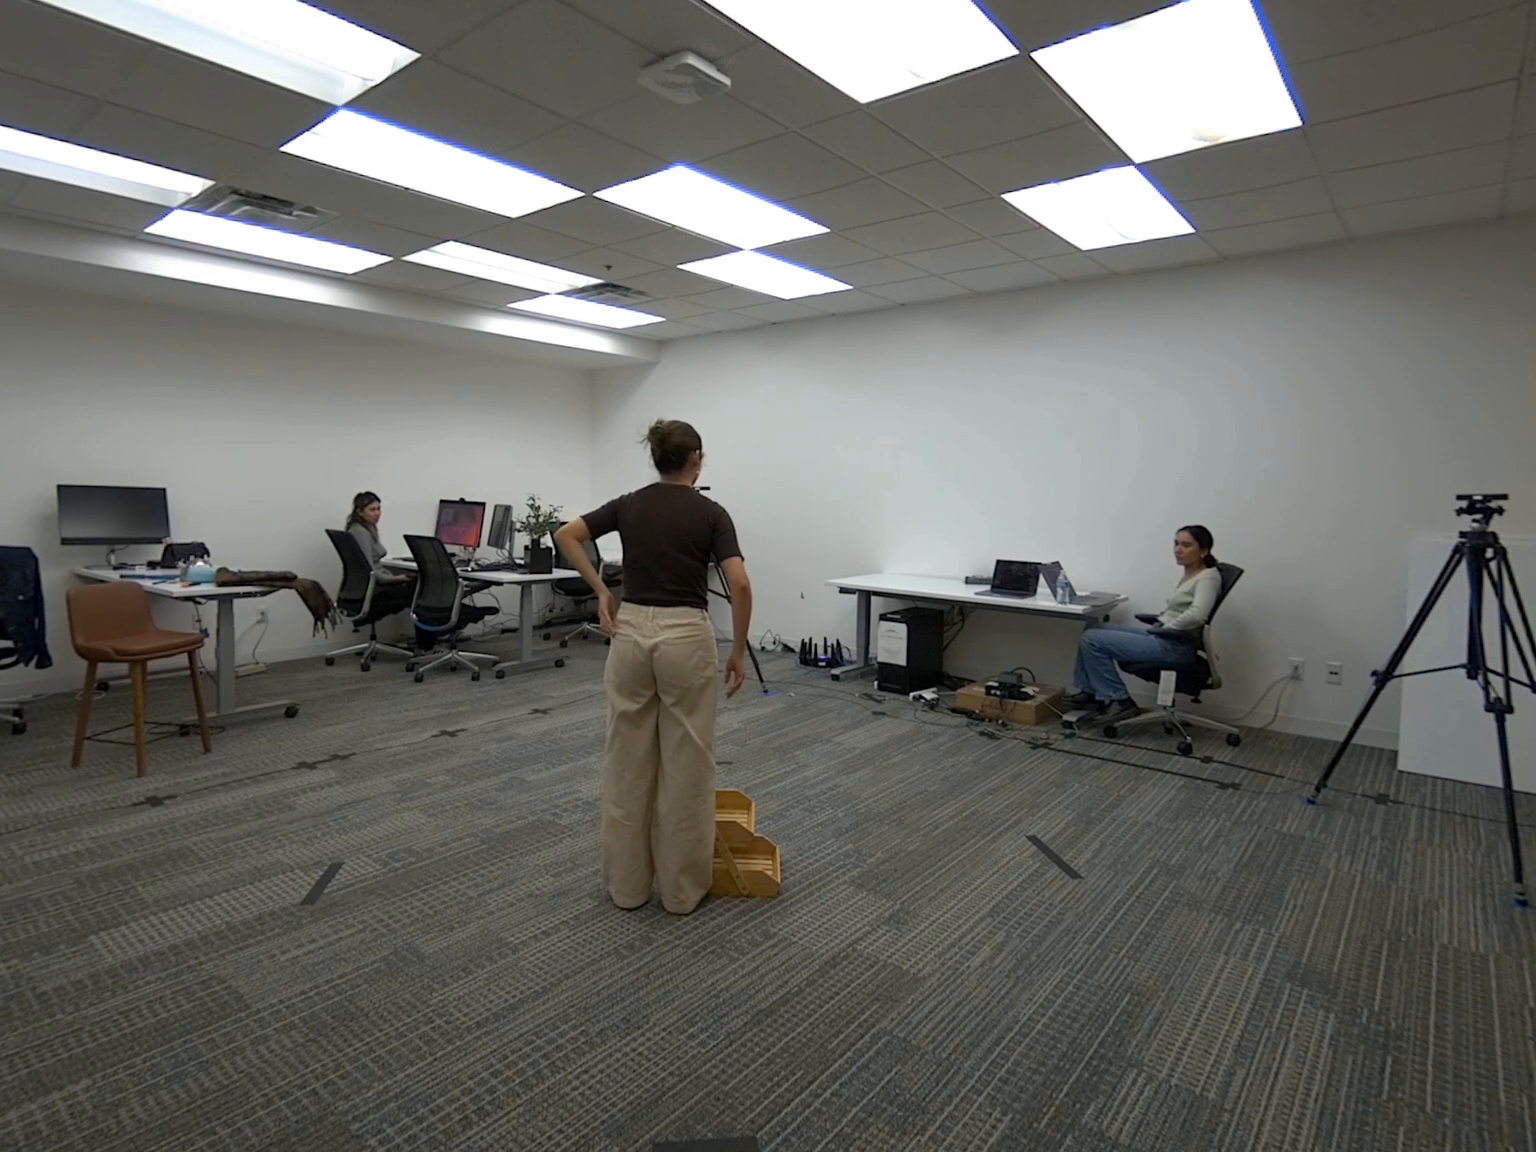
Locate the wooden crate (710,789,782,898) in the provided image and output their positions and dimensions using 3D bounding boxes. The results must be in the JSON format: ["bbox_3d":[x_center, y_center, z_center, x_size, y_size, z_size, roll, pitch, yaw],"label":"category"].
[{"bbox_3d":[-0.110,0.941,3.045,0.302,0.272,0.325,-1,5,1],"label":"wooden crate"}]
